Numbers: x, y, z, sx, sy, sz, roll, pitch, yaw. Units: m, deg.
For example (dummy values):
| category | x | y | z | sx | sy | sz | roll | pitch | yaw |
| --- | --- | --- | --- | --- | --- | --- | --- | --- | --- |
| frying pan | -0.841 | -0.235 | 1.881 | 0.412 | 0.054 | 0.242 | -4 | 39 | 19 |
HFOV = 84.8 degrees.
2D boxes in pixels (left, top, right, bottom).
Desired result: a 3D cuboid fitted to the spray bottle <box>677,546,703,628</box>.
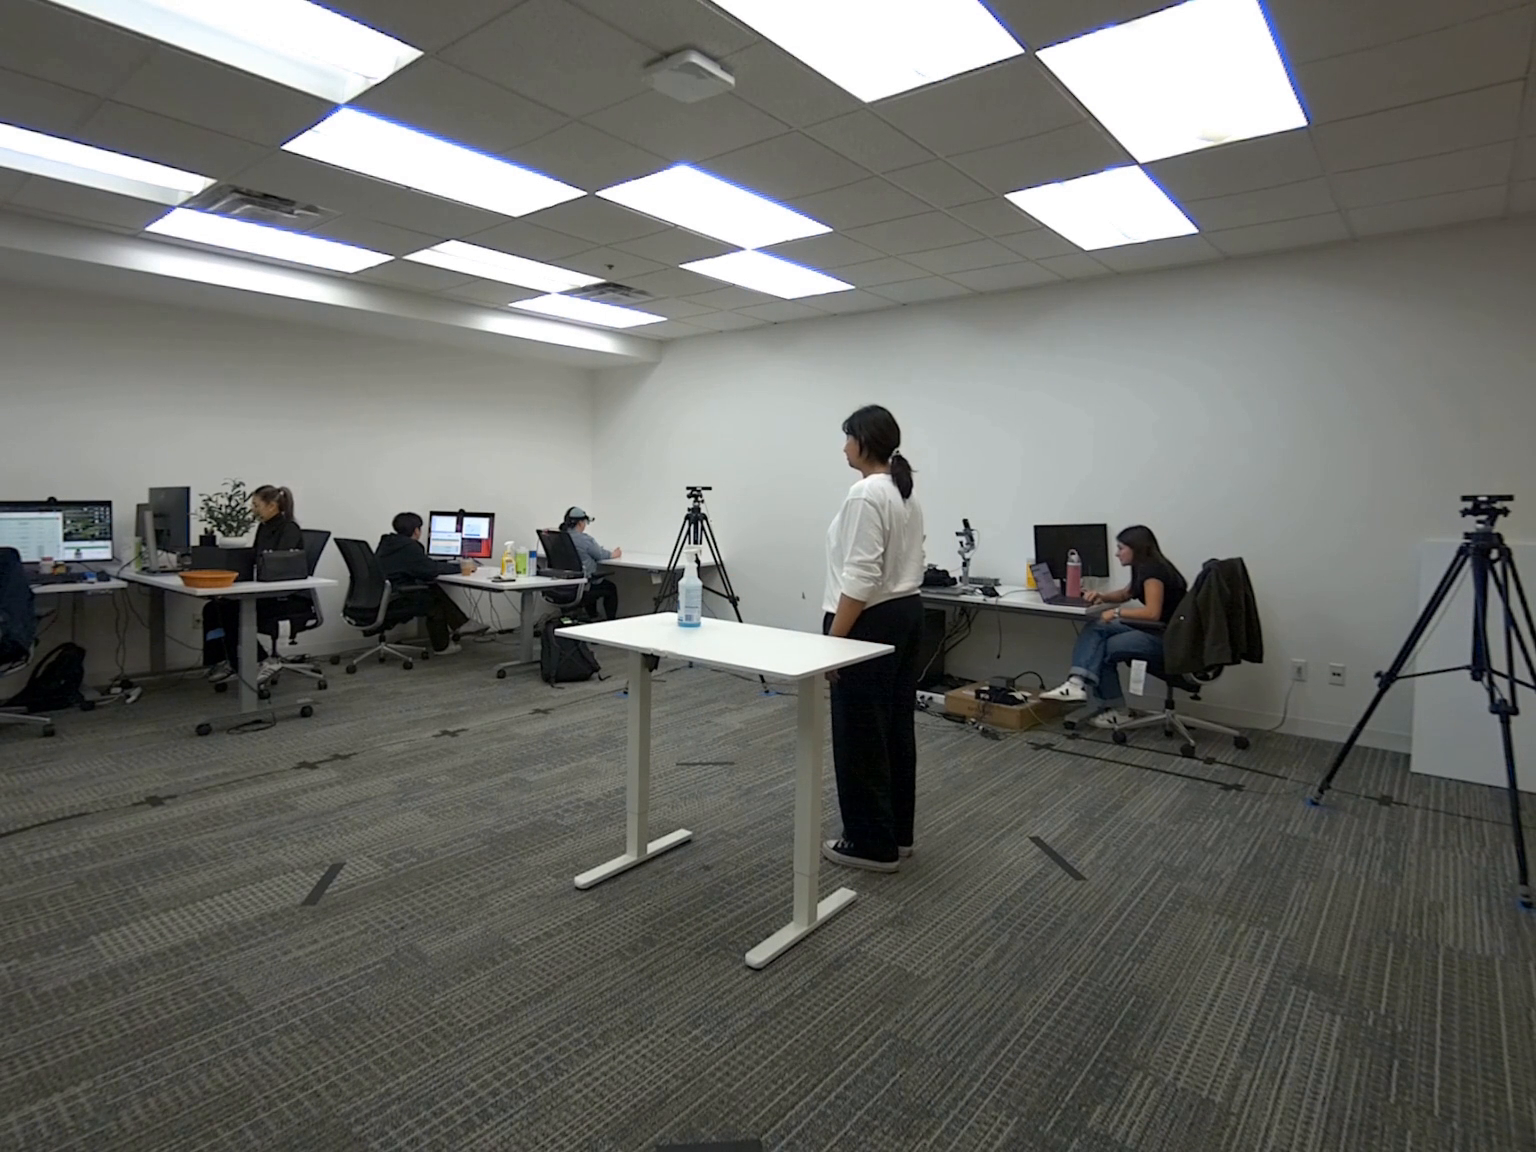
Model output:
| category | x | y | z | sx | sy | sz | roll | pitch | yaw |
| --- | --- | --- | --- | --- | --- | --- | --- | --- | --- |
| spray bottle | -0.282 | 0.034 | 3.098 | 0.085 | 0.296 | 0.093 | 0 | 6 | -27 |
